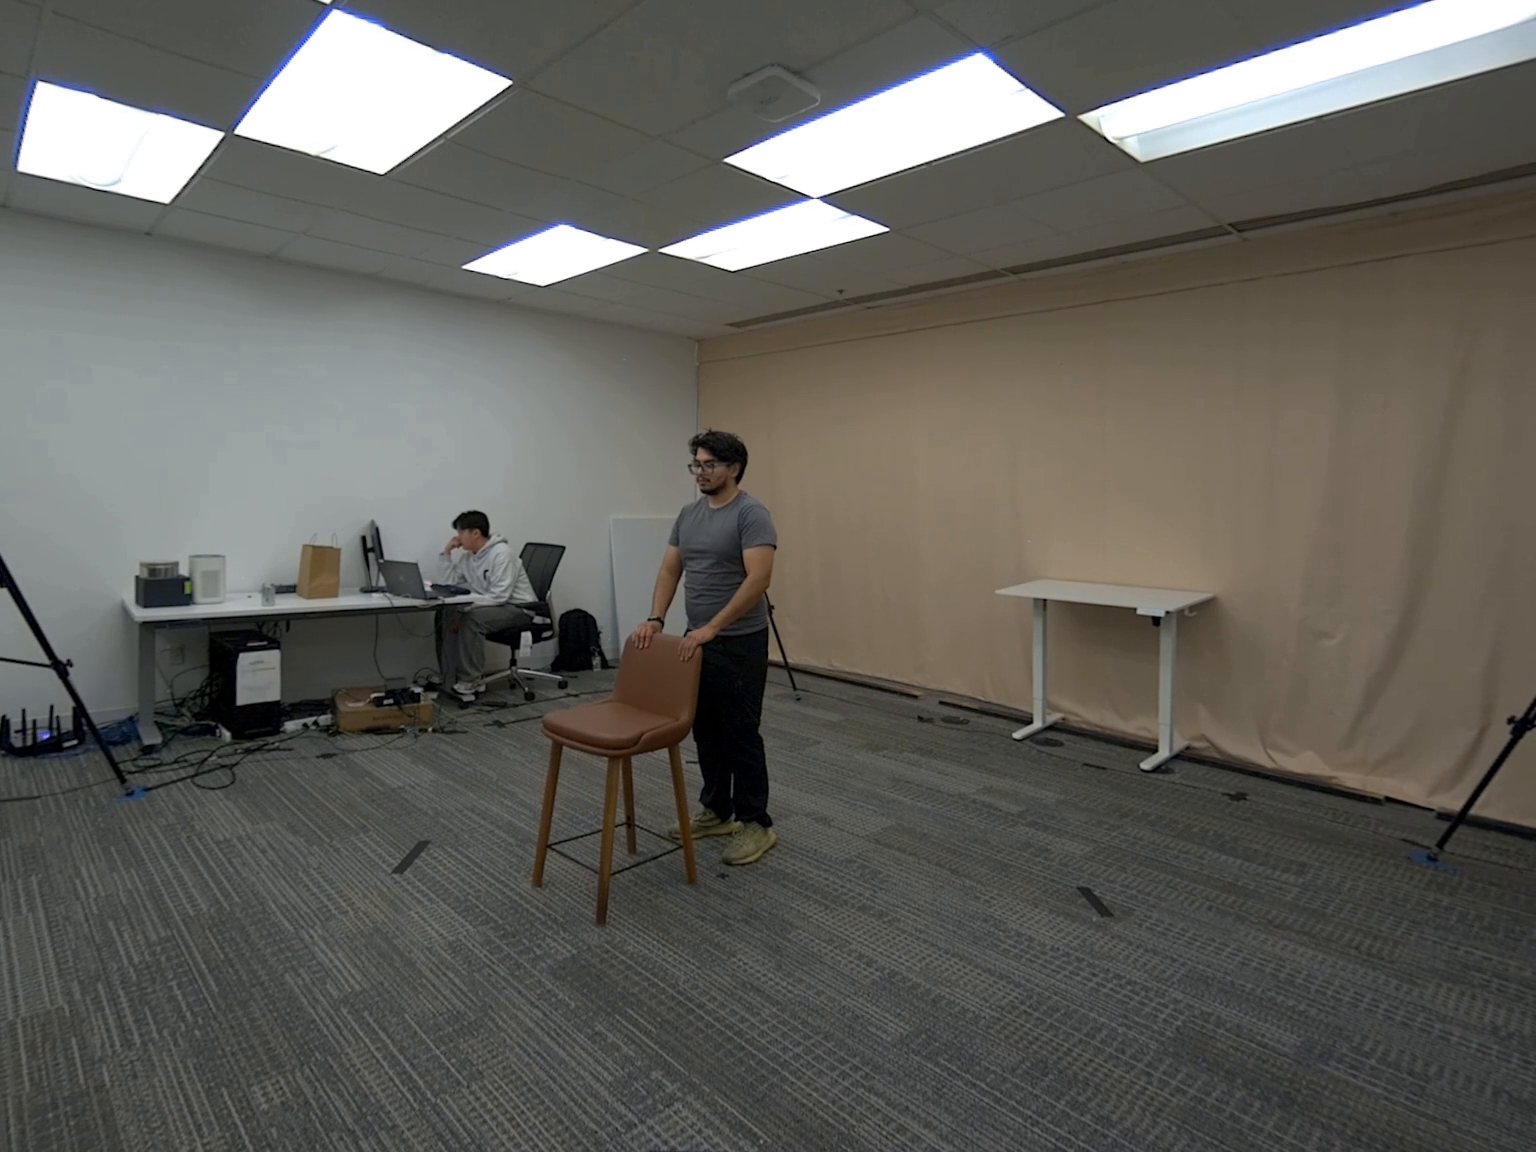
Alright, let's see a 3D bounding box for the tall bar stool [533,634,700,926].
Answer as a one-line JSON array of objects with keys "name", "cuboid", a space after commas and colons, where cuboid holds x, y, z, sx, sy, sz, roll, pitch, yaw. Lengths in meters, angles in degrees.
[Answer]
[{"name": "tall bar stool", "cuboid": [-0.528, 0.670, 2.998, 0.468, 0.889, 0.456, 4, 2, 43]}]
